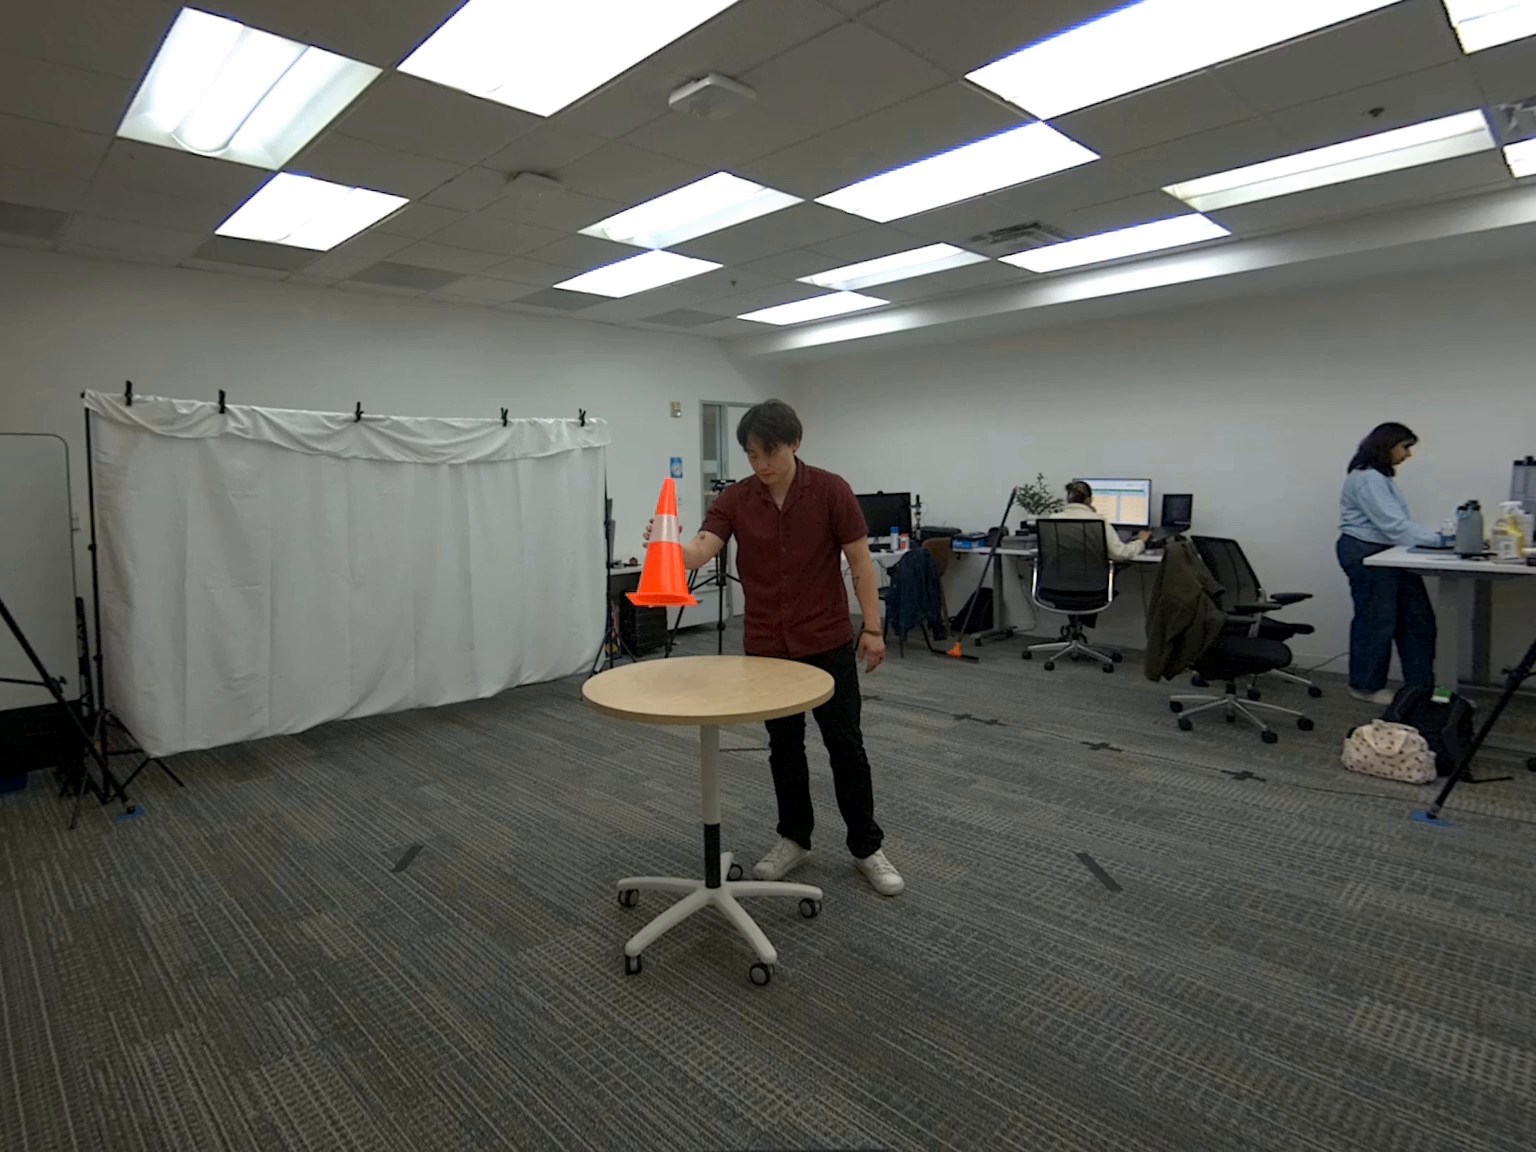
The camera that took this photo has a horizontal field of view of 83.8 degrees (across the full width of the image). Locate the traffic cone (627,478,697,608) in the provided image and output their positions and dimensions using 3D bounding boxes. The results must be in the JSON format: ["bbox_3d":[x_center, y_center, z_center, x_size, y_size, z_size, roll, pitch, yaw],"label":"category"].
[{"bbox_3d":[-0.311,-0.110,2.596,0.207,0.389,0.199,-3,-16,19],"label":"traffic cone"}]
